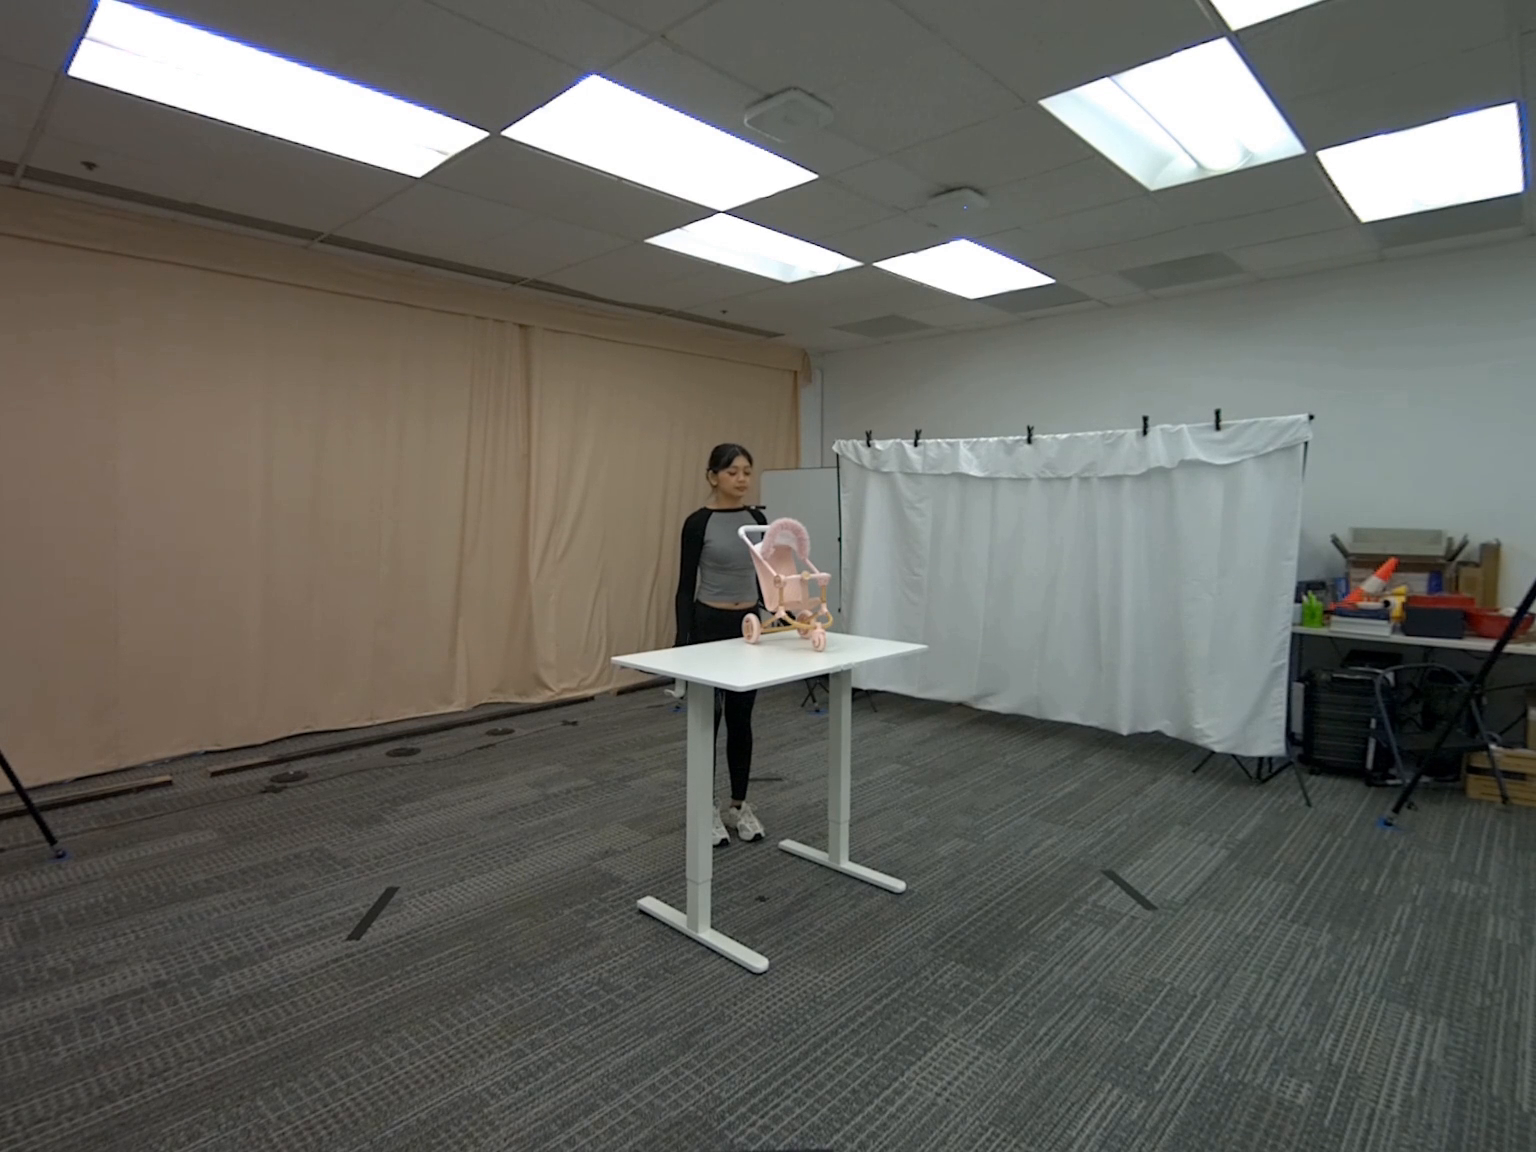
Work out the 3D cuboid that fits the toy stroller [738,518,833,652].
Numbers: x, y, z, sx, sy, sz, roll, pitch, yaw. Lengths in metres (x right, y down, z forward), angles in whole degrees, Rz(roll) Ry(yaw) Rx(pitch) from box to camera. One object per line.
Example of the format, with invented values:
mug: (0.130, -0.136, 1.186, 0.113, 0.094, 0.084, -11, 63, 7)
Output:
toy stroller: (0.078, 0.026, 3.100, 0.274, 0.540, 0.347, -1, -13, -28)
